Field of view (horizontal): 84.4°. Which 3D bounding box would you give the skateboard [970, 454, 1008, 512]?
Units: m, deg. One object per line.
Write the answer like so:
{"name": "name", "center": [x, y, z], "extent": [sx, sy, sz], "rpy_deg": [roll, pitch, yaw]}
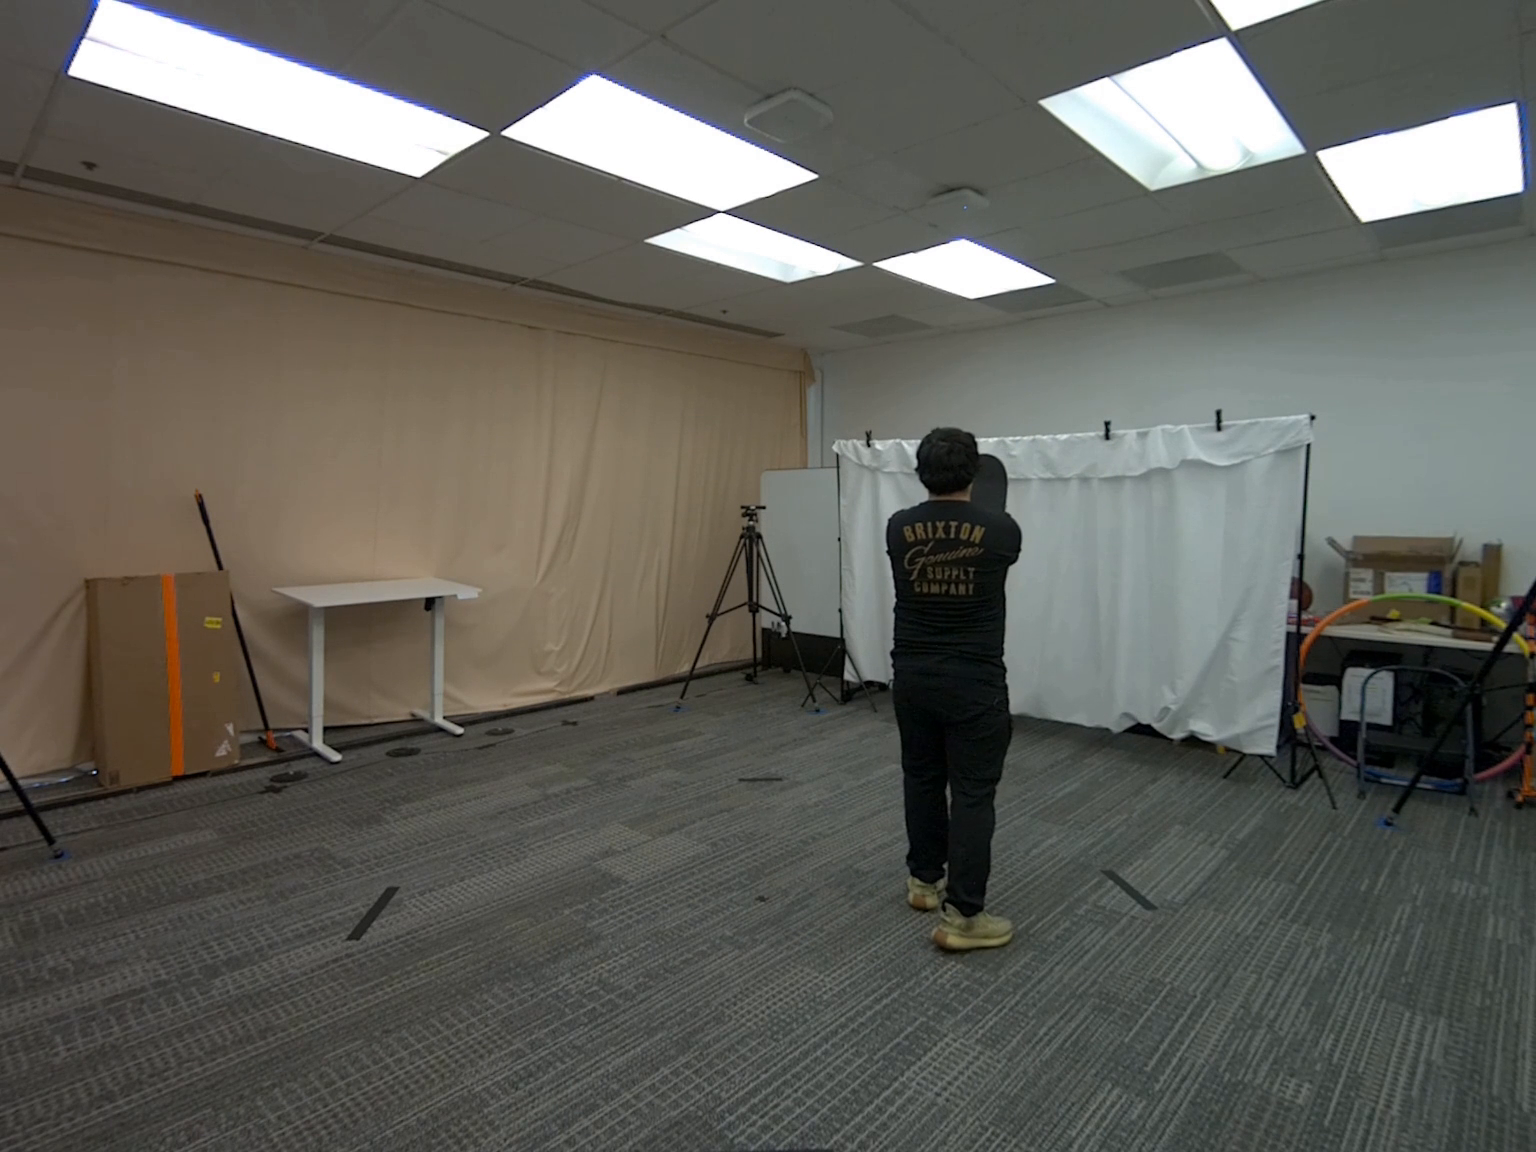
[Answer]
{"name": "skateboard", "center": [0.846, -0.093, 3.364], "extent": [0.198, 0.788, 0.107], "rpy_deg": [4, -7, 20]}
